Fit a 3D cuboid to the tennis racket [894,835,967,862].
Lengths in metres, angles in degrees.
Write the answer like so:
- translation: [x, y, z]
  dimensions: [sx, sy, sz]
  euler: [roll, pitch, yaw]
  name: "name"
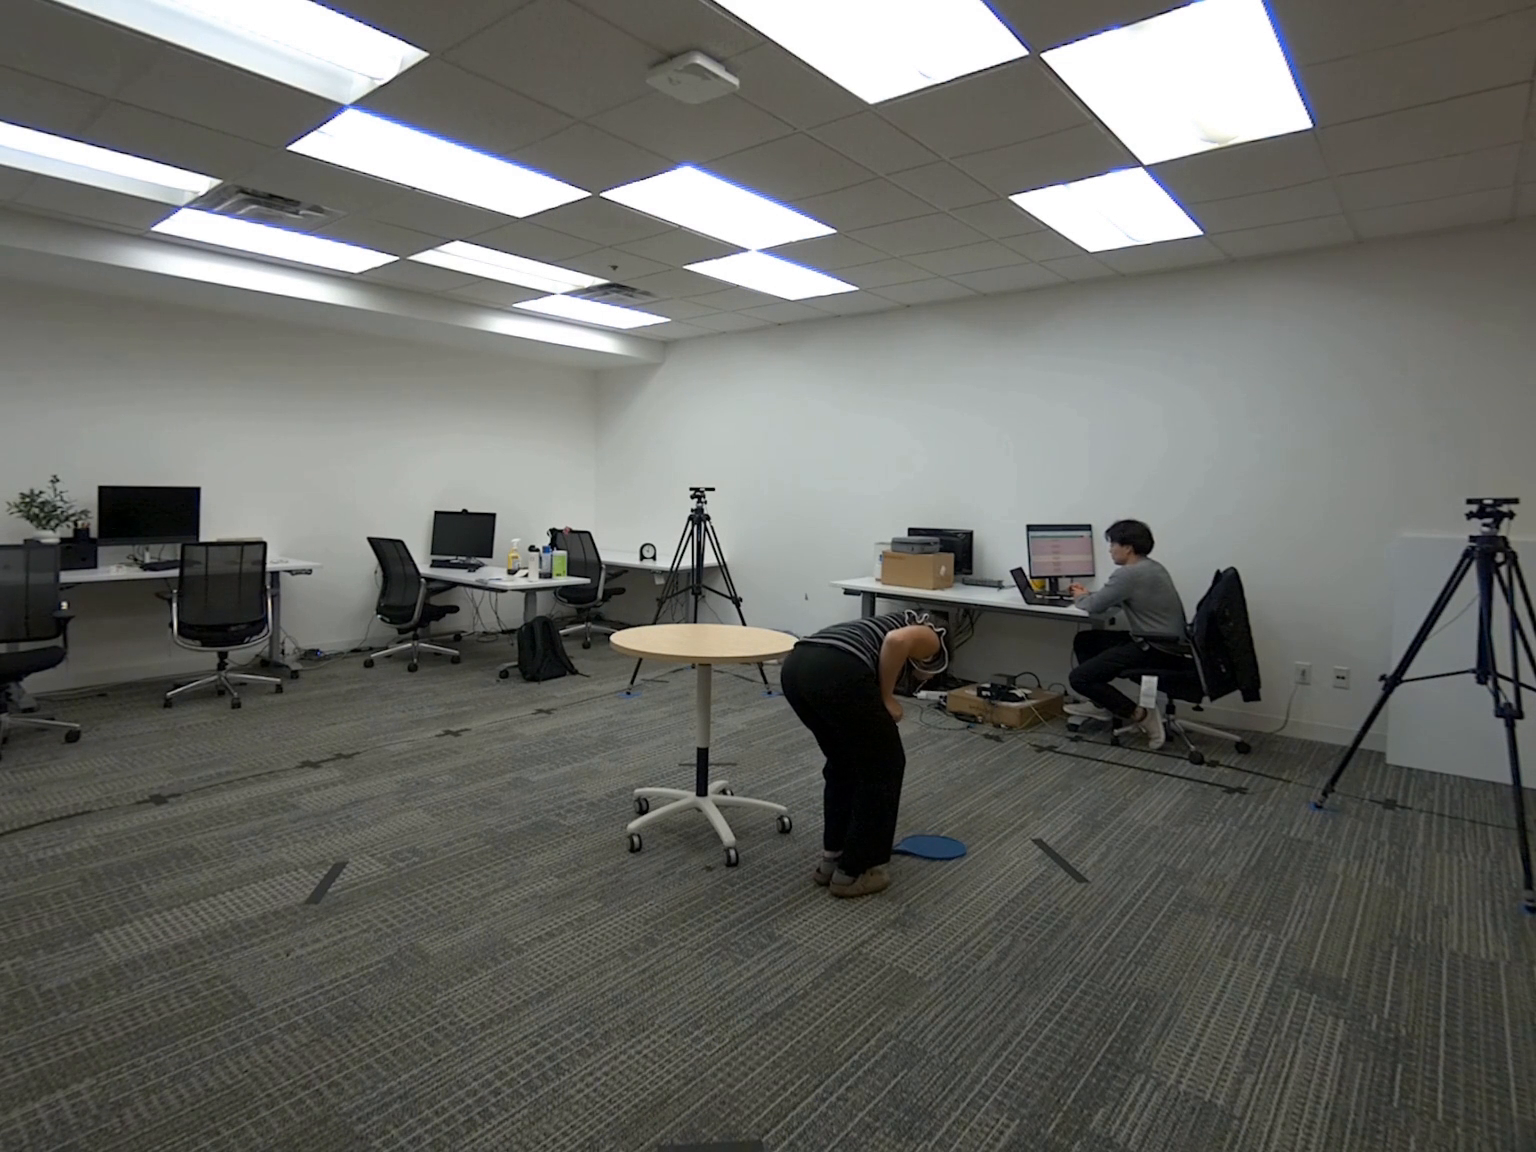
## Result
- translation: [0.557, 1.051, 3.308]
  dimensions: [0.424, 0.031, 0.219]
  euler: [1, 6, -19]
  name: "tennis racket"
